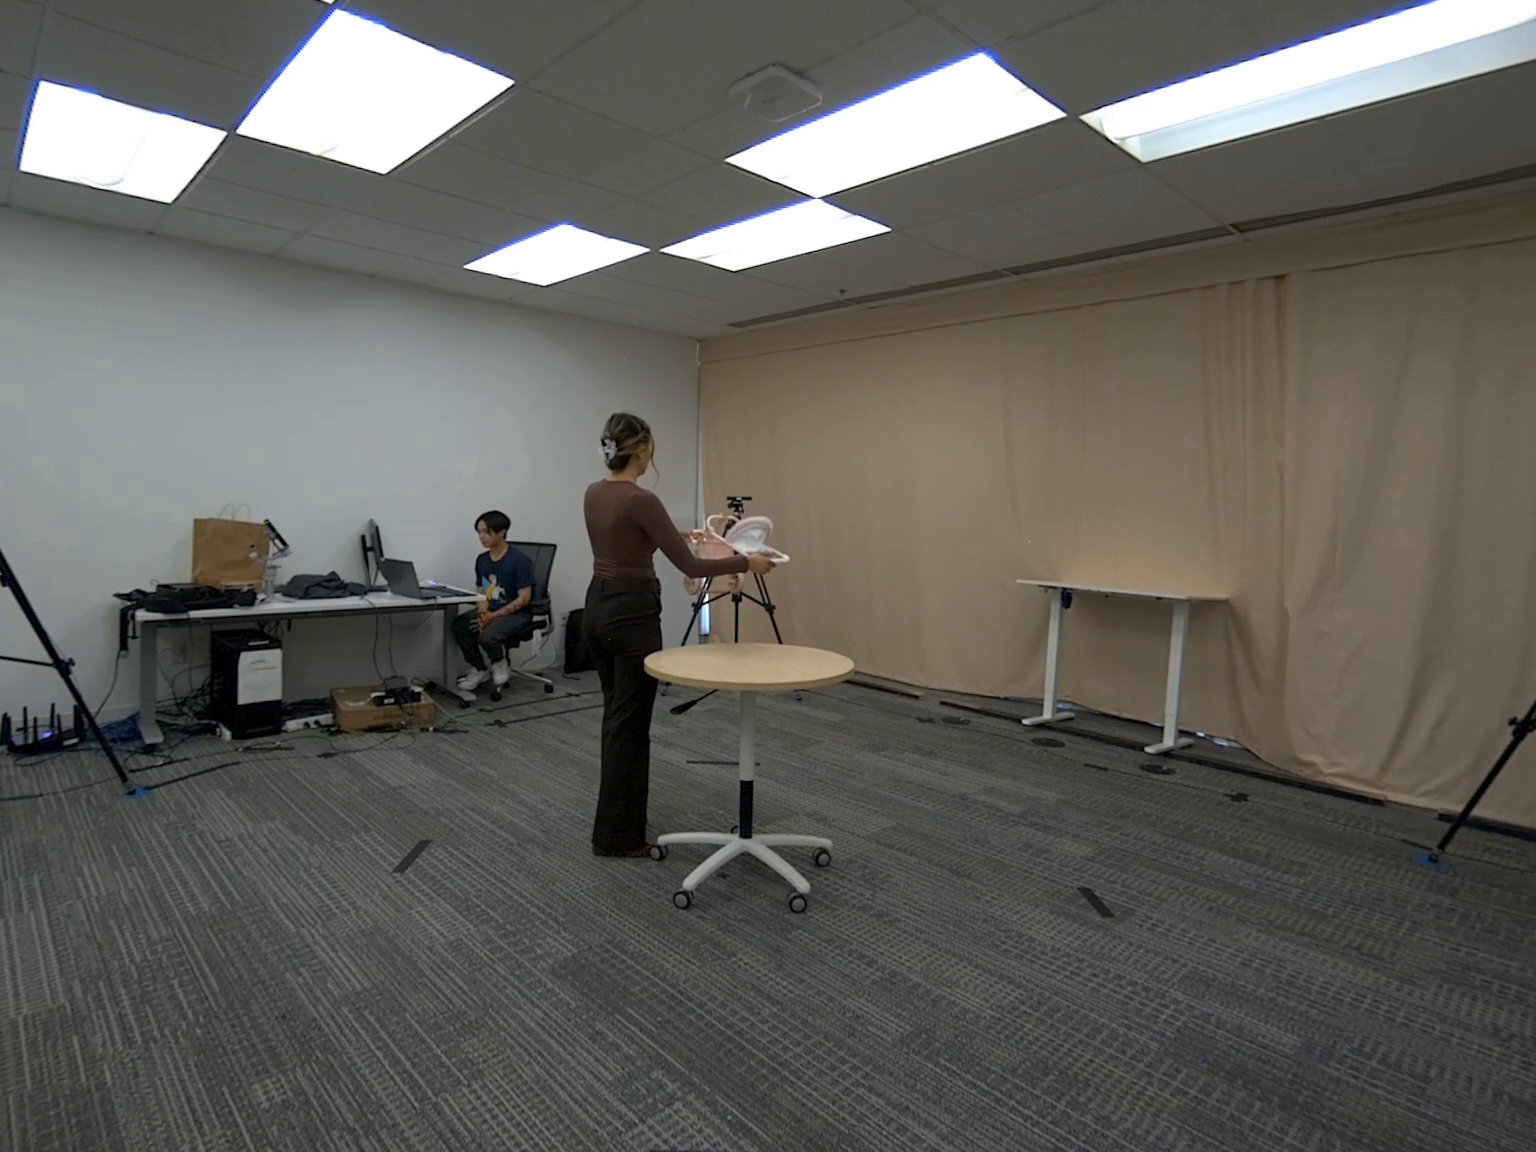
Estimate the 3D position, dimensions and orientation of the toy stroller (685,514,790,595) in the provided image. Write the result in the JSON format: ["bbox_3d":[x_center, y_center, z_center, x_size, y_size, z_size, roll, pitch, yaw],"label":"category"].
[{"bbox_3d":[-0.171,-0.122,3.685,0.274,0.346,0.540,5,-22,-38],"label":"toy stroller"}]
